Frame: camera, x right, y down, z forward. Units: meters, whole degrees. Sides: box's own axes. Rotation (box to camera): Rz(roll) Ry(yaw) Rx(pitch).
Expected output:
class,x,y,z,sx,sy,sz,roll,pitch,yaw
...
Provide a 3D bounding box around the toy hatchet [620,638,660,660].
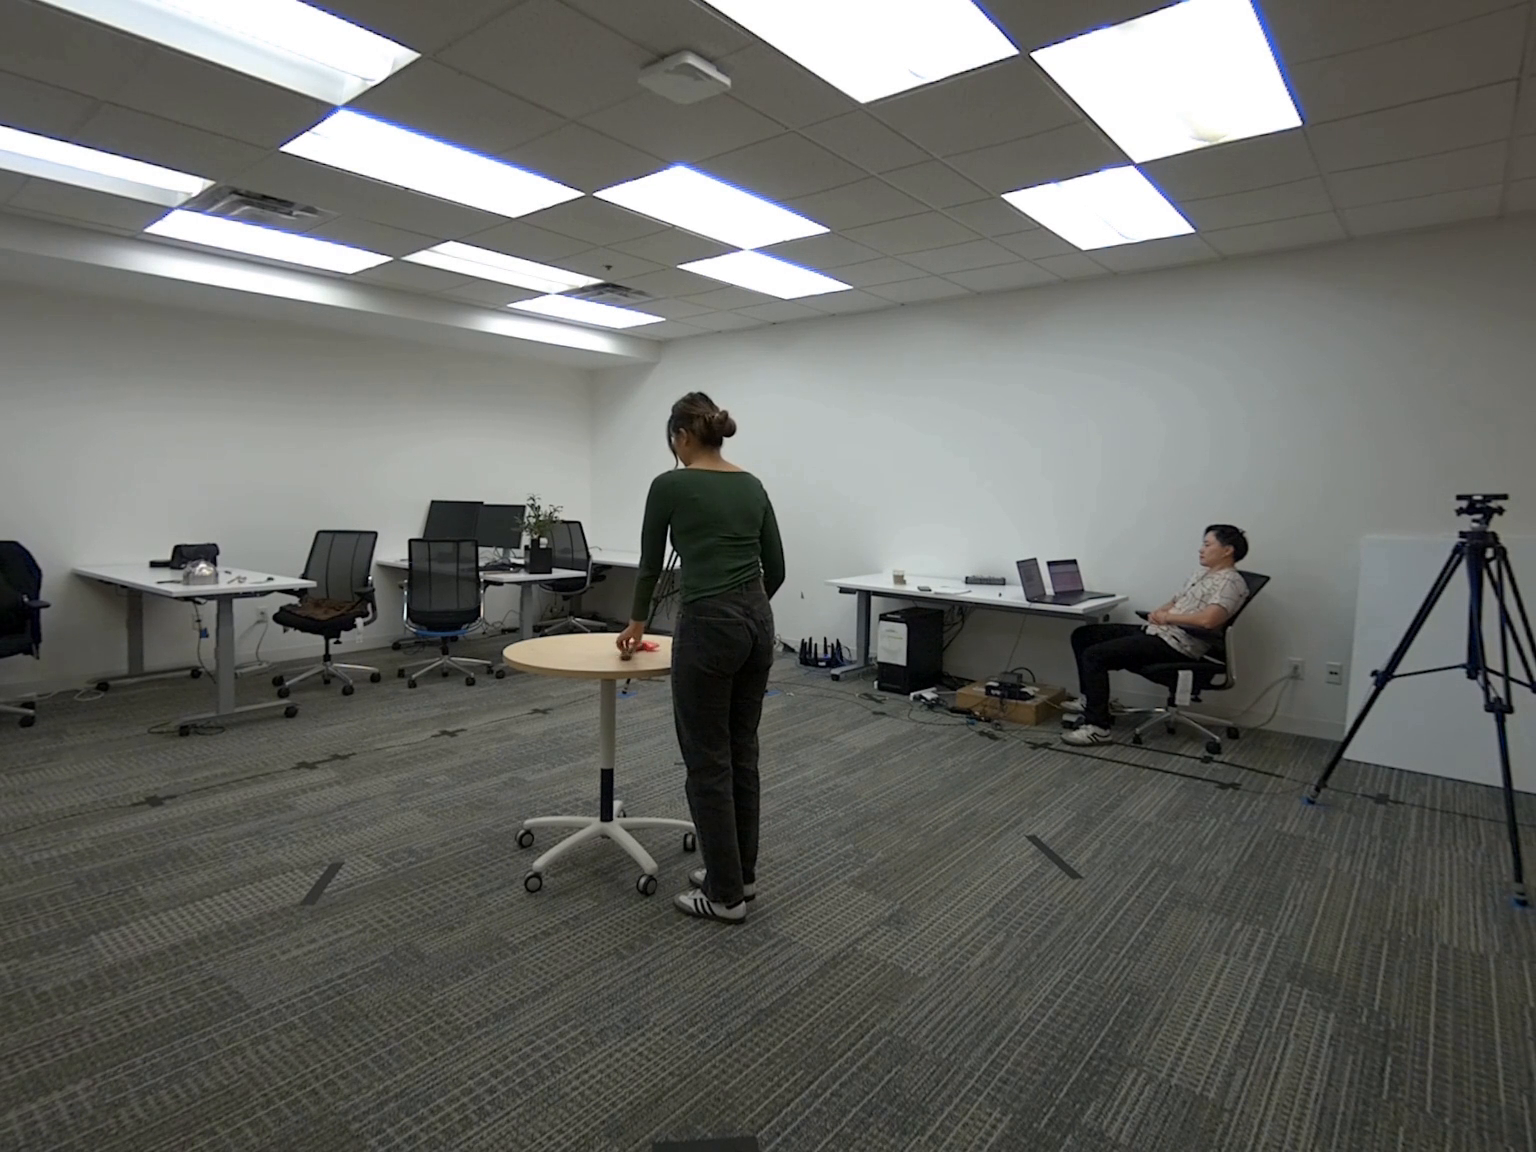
class,x,y,z,sx,sy,sz,roll,pitch,yaw
toy hatchet,-0.465,0.267,3.089,0.129,0.029,0.274,1,4,-15
